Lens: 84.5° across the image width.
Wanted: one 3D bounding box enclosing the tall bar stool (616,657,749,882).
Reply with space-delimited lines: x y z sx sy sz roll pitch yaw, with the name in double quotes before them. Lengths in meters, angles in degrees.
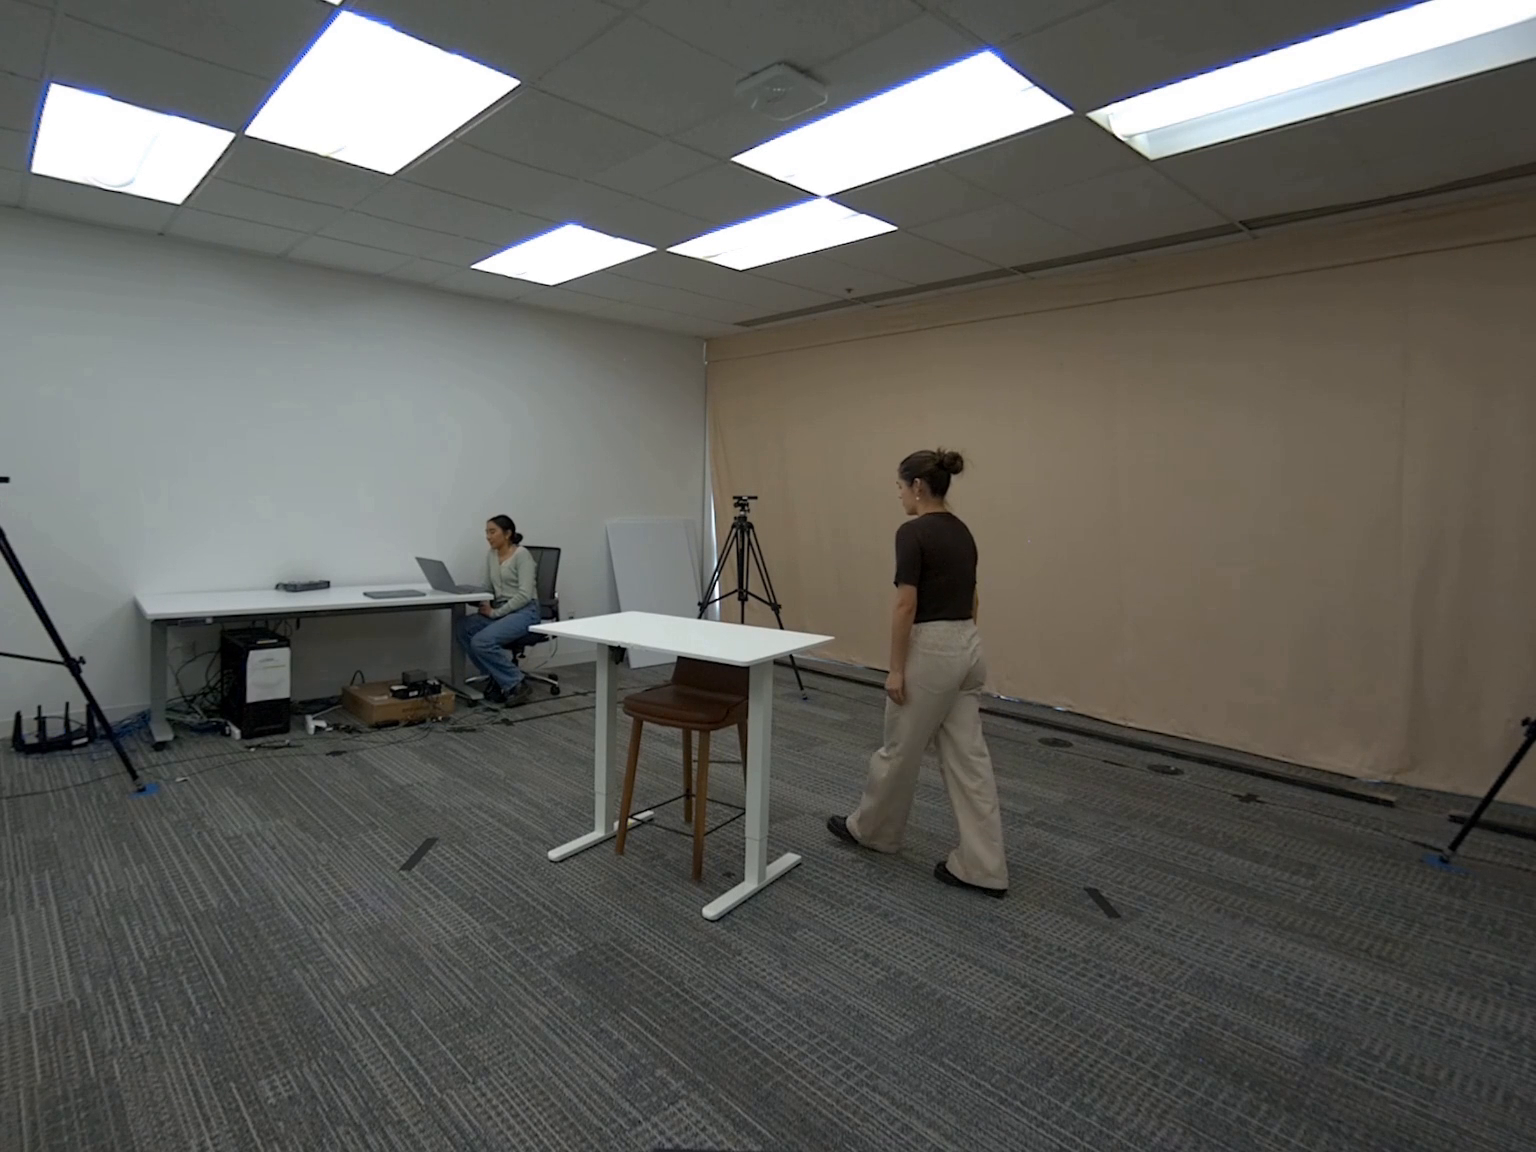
"tall bar stool" -0.290 0.646 3.310 0.467 0.888 0.457 3 2 33
